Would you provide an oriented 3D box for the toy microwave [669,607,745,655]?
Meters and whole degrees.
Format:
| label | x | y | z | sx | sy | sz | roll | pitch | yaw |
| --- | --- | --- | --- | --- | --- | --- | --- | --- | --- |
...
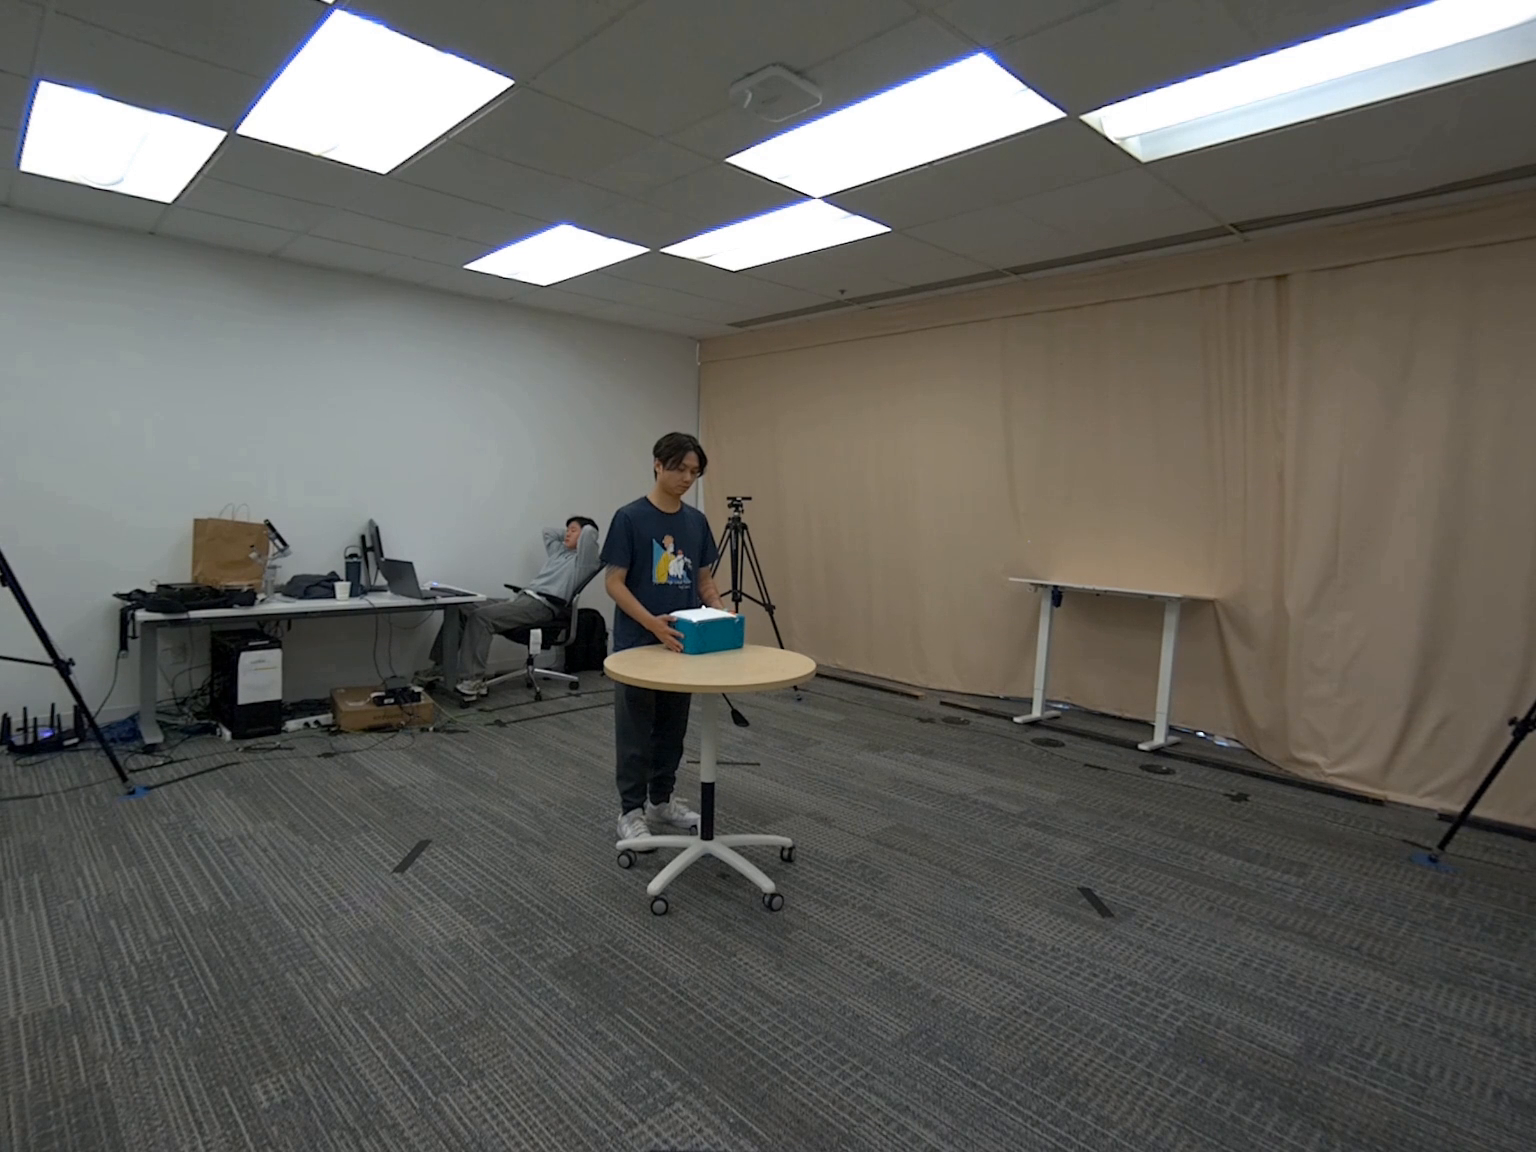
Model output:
| label | x | y | z | sx | sy | sz | roll | pitch | yaw |
| --- | --- | --- | --- | --- | --- | --- | --- | --- | --- |
| toy microwave | -0.253 | 0.210 | 3.304 | 0.280 | 0.152 | 0.189 | -5 | 10 | -43 |
